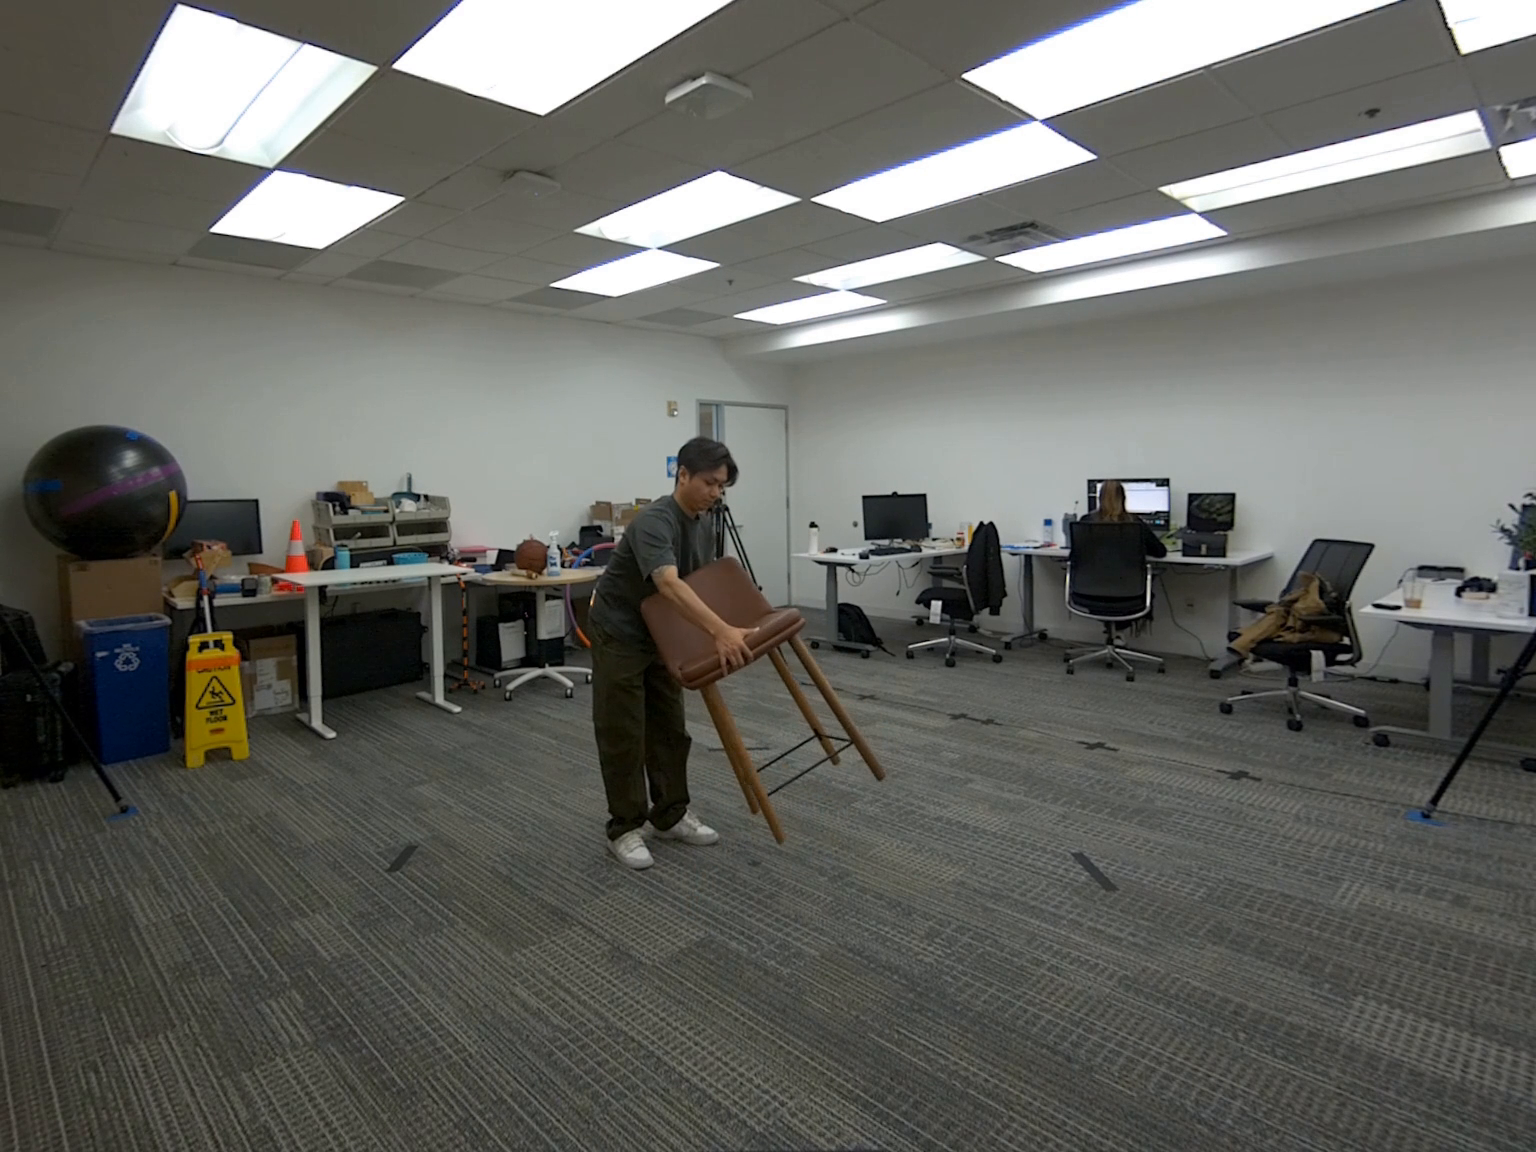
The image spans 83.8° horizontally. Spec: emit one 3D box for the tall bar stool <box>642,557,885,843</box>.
[{"bbox_3d":[-0.044,0.375,2.921,0.454,0.894,0.468,-27,-3,-13],"label":"tall bar stool"}]
